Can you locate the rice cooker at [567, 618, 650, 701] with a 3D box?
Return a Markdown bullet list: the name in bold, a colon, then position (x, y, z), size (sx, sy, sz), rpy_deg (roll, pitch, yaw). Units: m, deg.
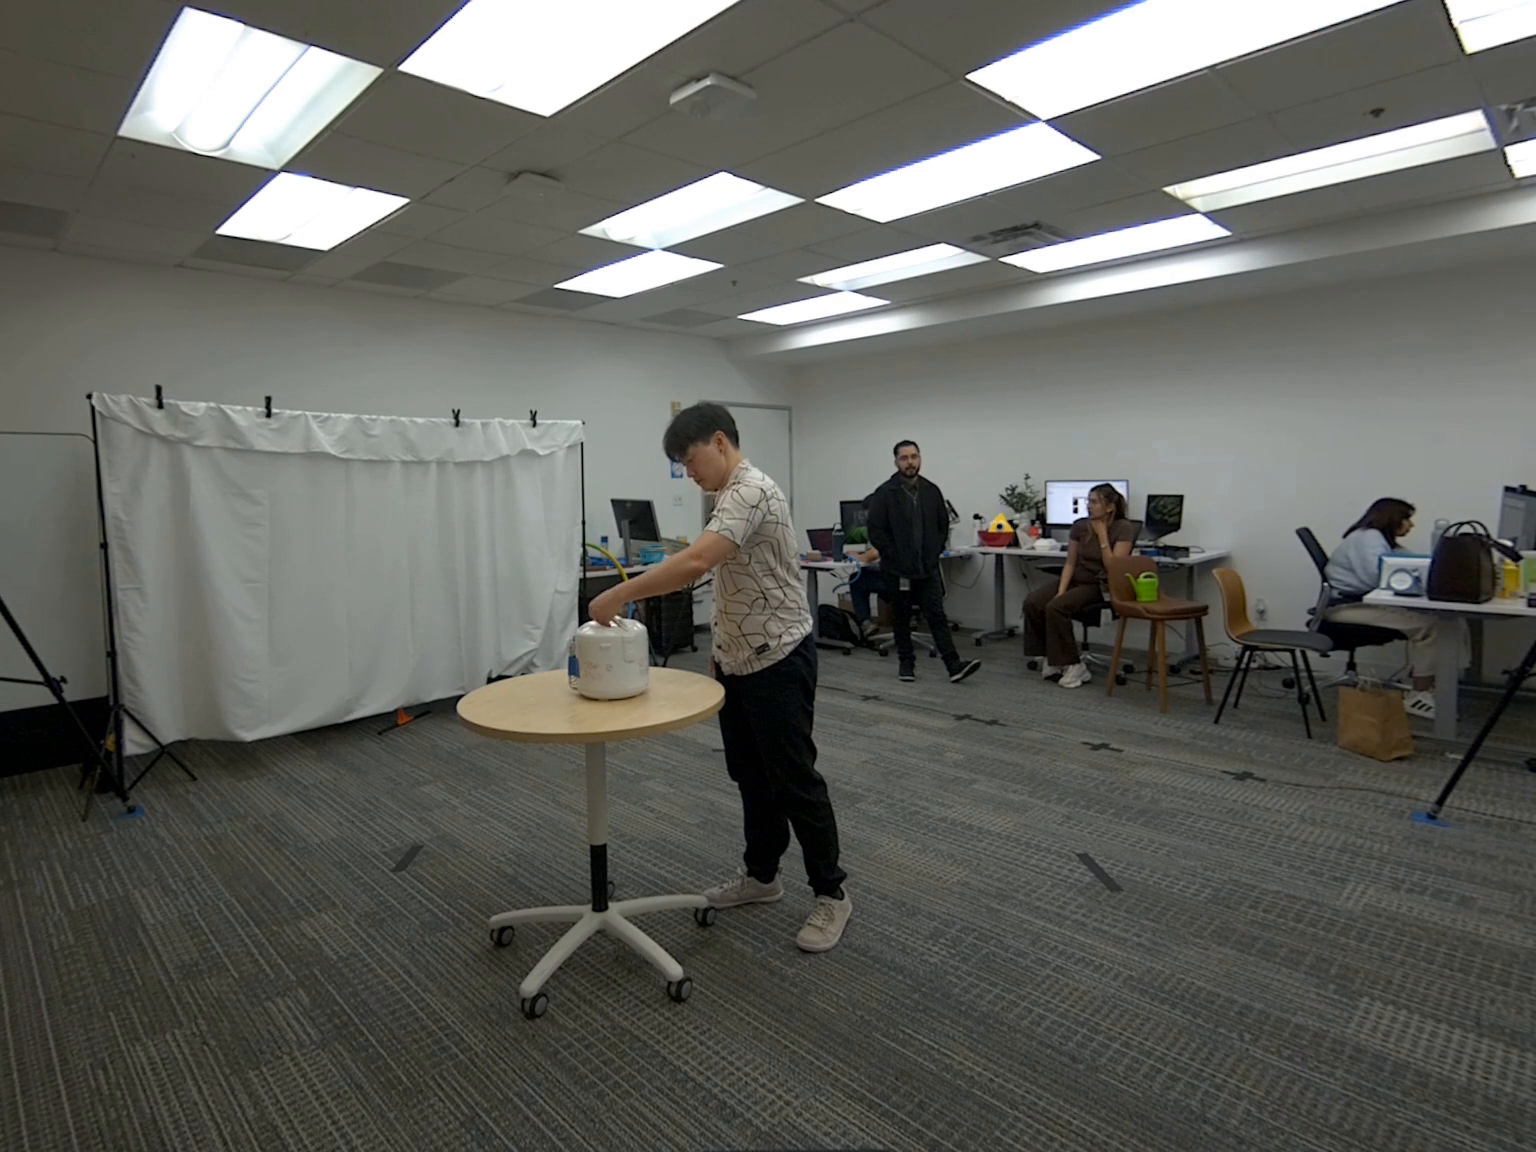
- **rice cooker**: position (-0.447, 0.228, 2.483), size (0.212, 0.231, 0.227), rpy_deg (-7, 8, -38)
